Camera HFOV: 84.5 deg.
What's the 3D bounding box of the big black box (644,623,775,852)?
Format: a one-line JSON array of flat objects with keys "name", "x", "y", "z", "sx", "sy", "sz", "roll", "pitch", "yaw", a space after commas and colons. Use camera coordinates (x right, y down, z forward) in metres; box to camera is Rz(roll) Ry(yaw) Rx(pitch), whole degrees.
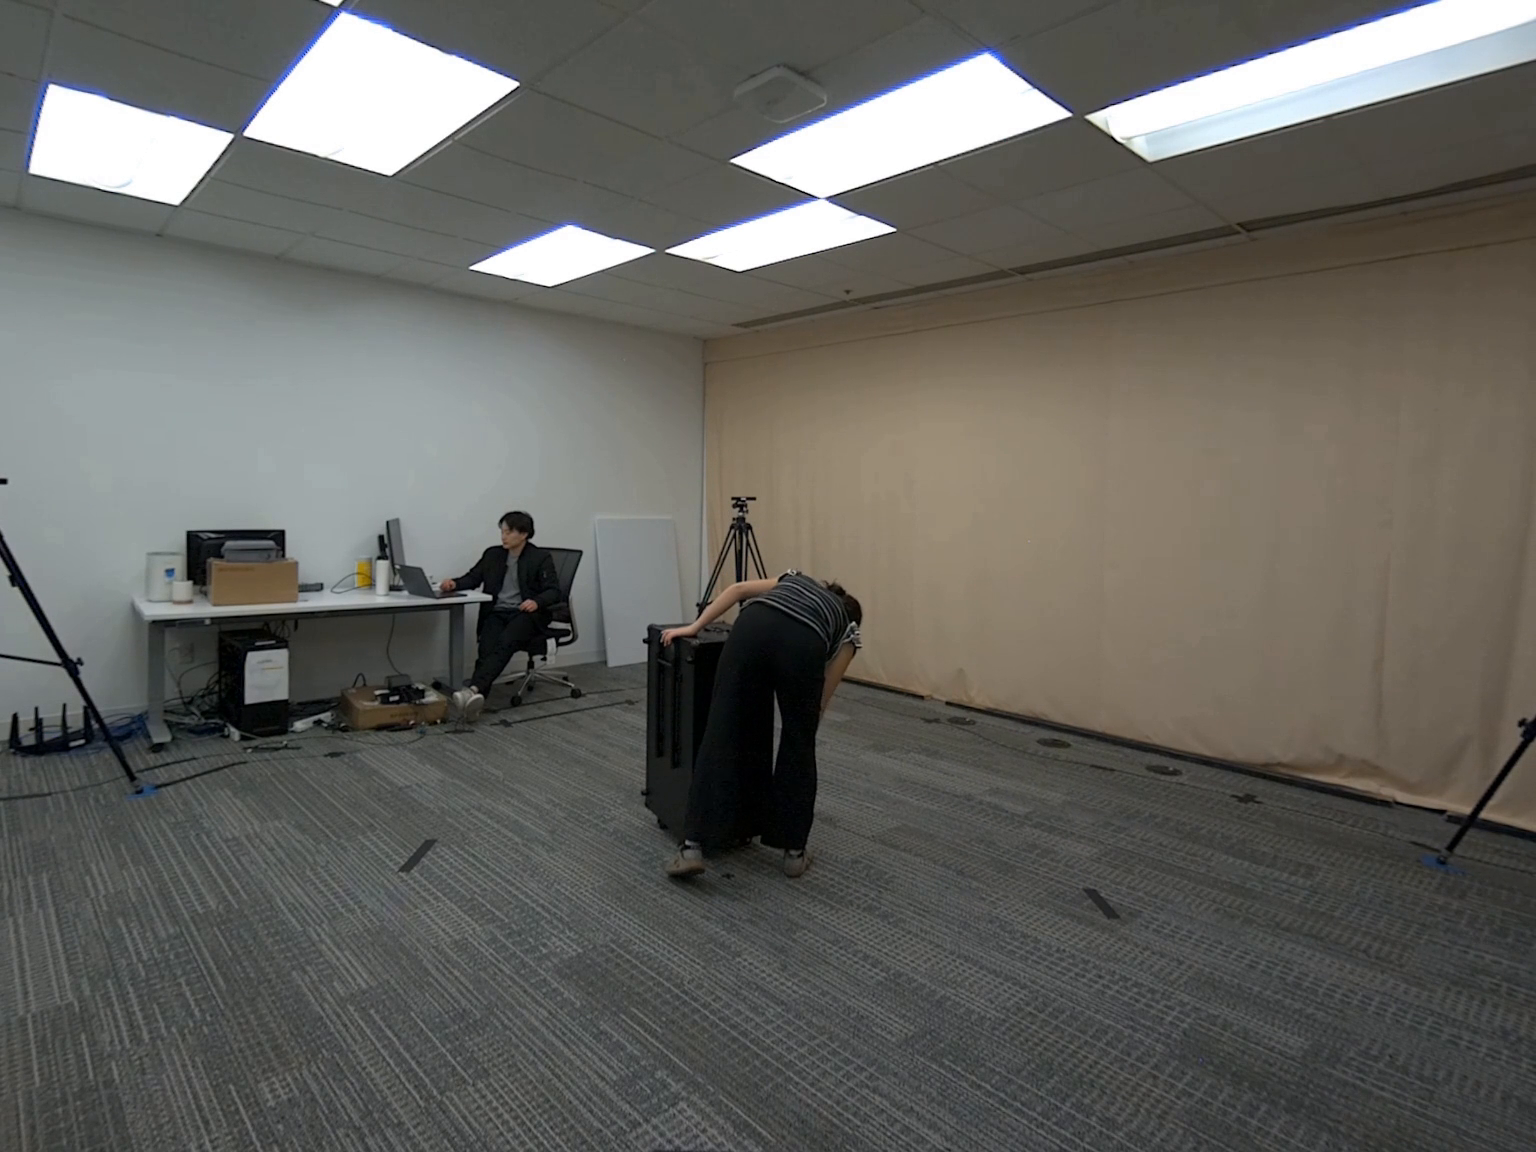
[{"name": "big black box", "x": -0.269, "y": 0.652, "z": 3.447, "sx": 0.389, "sy": 0.859, "sz": 0.532, "roll": -1, "pitch": 4, "yaw": -28}]
